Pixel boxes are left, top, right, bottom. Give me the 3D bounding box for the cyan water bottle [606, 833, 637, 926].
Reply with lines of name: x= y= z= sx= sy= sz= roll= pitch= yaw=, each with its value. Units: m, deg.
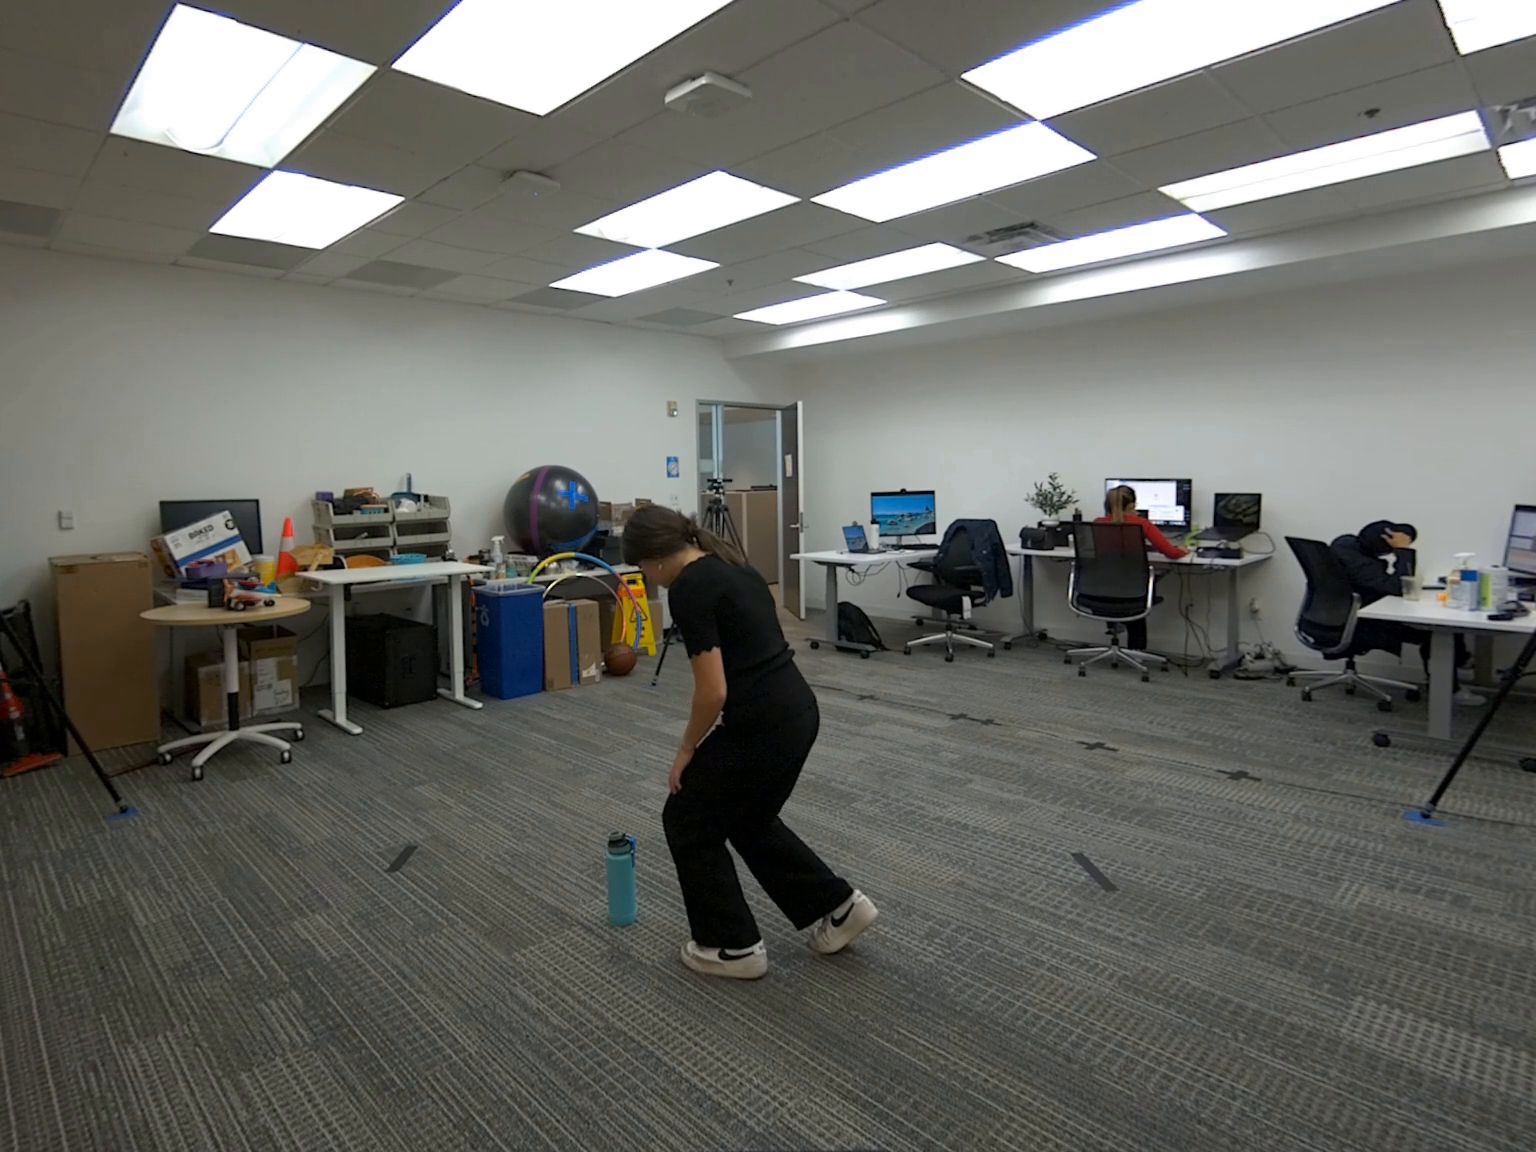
cyan water bottle: x=-0.465 y=0.960 z=2.719 sx=0.092 sy=0.282 sz=0.093 roll=-1 pitch=5 yaw=-2
